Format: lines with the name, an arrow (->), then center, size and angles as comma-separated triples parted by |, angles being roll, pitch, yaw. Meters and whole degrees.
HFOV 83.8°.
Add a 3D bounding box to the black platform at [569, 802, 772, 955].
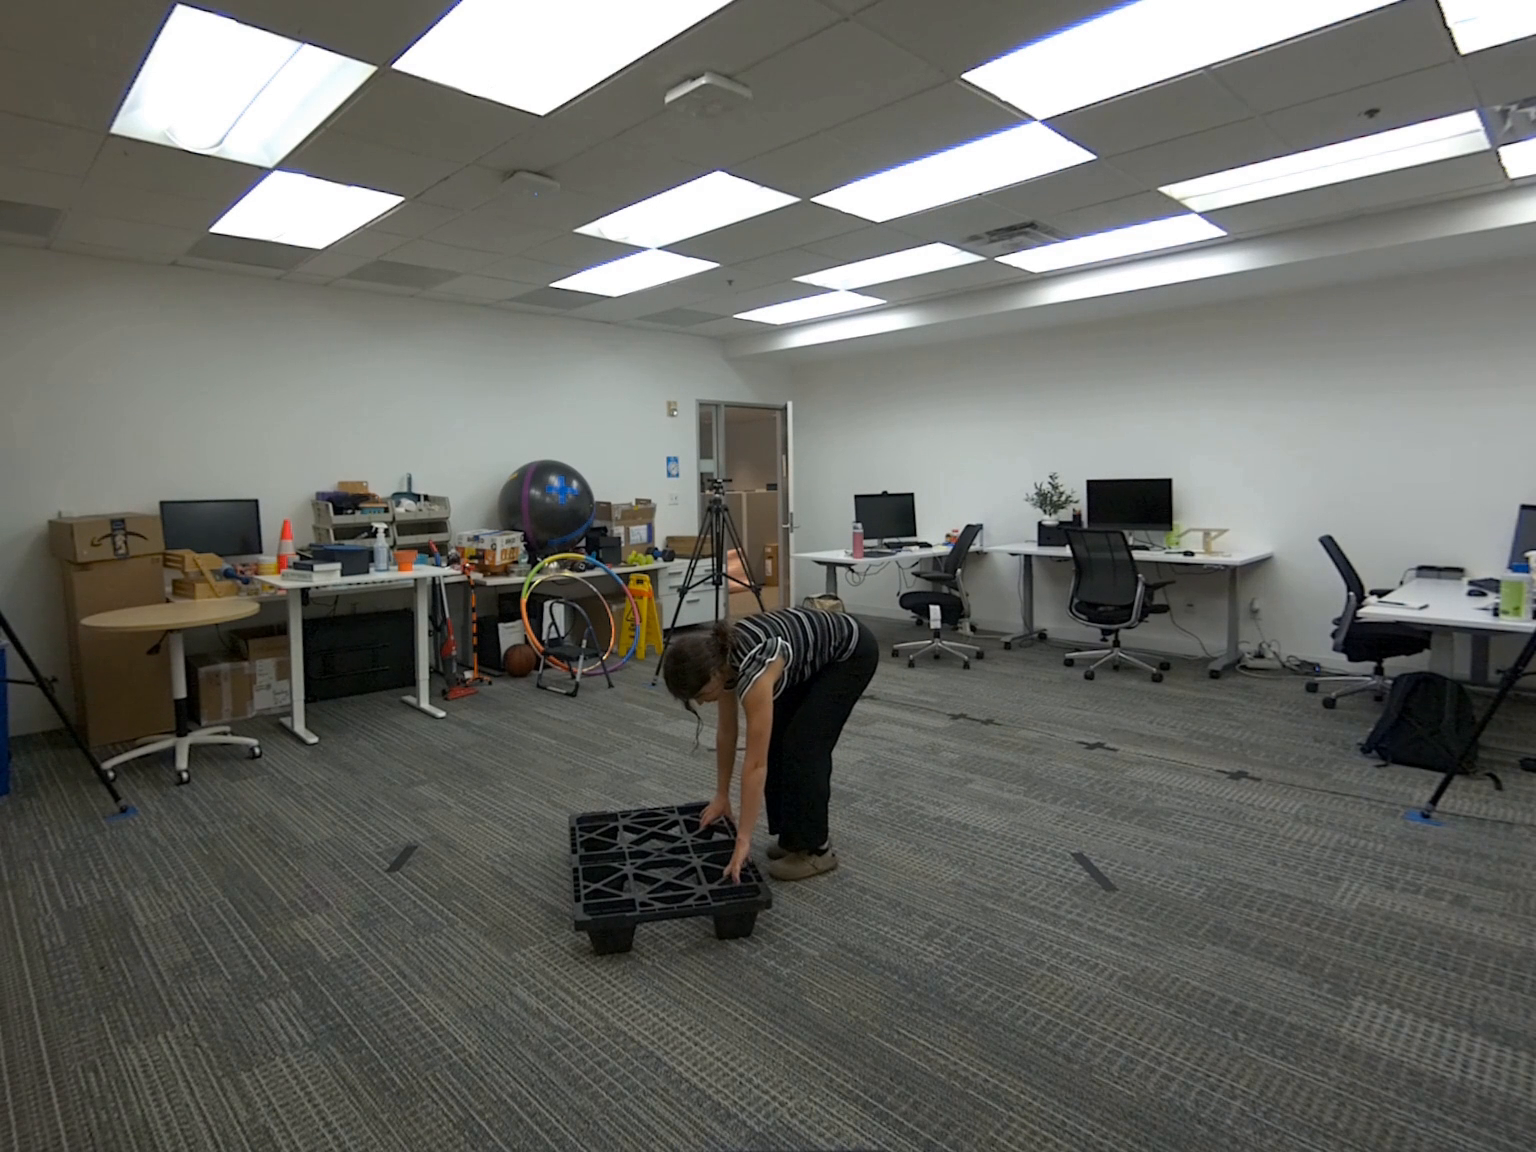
black platform -> -0.368, 1.004, 2.917 | 0.598, 0.142, 0.819 | -4, 7, -13
